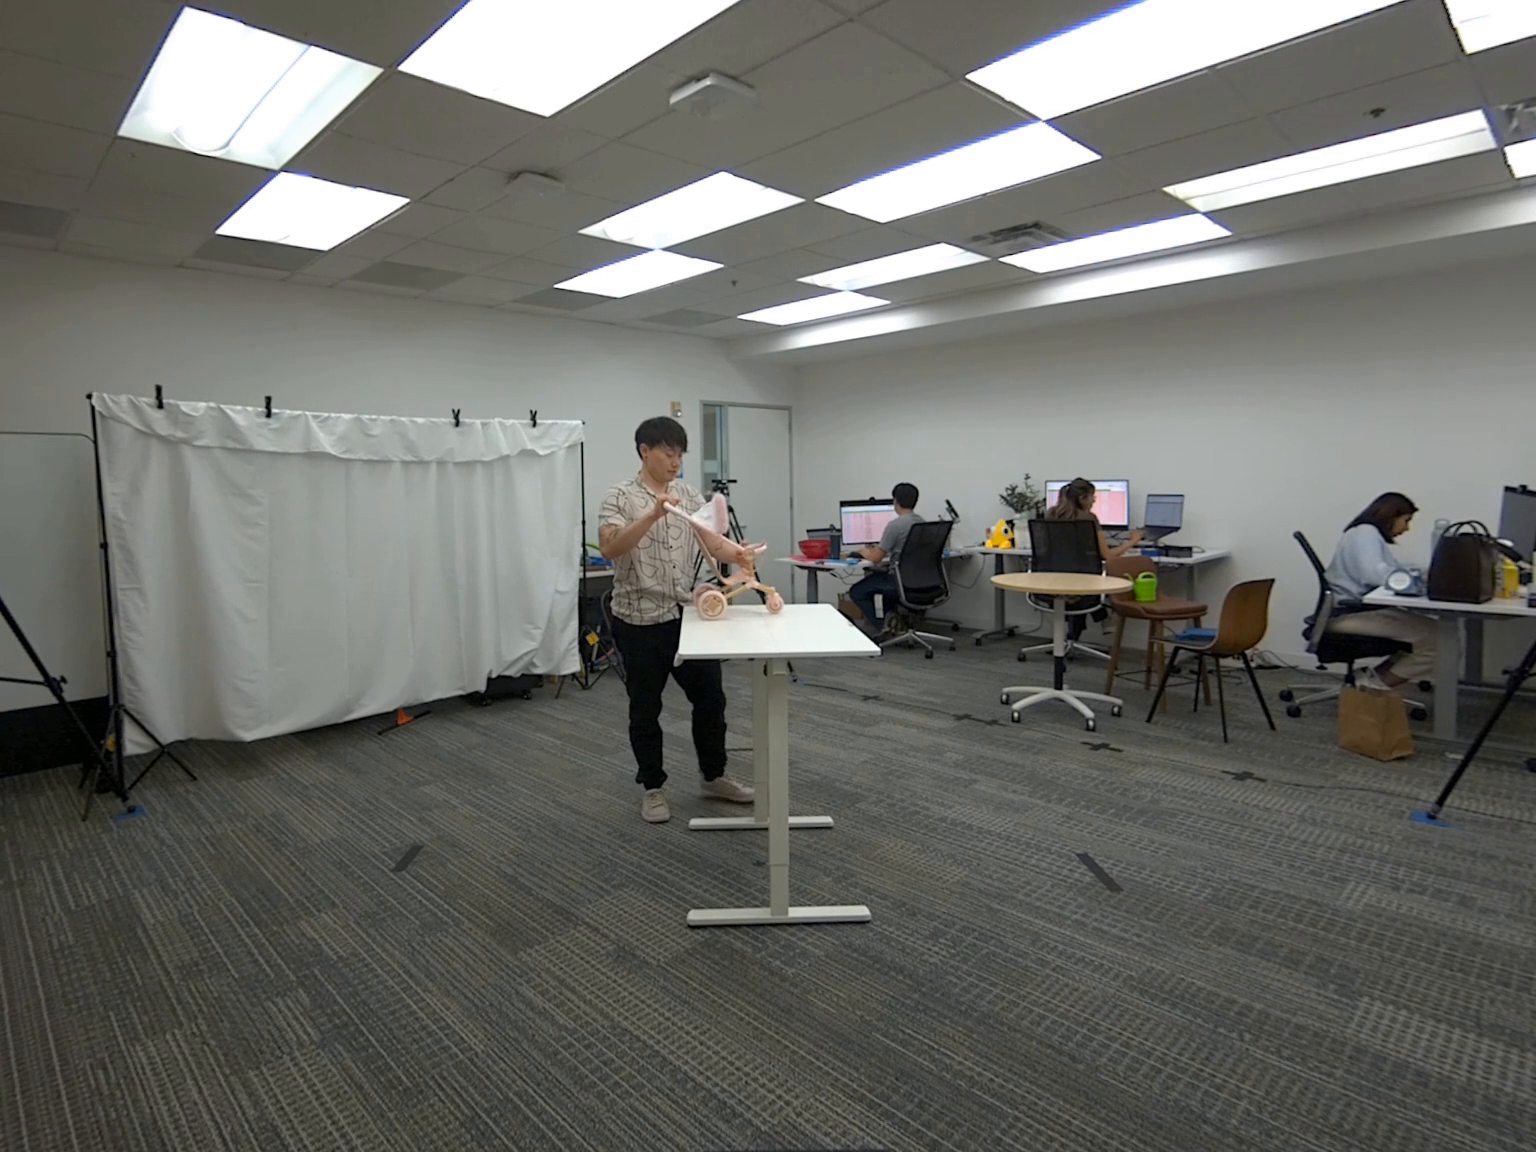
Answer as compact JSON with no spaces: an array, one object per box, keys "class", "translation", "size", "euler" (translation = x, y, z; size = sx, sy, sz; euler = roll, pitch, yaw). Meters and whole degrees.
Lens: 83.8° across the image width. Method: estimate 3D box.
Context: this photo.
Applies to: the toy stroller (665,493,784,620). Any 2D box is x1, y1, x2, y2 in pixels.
[{"class":"toy stroller","translation":[-0.149,-0.074,3.254],"size":[0.341,0.532,0.283],"euler":[-16,5,-2]}]
